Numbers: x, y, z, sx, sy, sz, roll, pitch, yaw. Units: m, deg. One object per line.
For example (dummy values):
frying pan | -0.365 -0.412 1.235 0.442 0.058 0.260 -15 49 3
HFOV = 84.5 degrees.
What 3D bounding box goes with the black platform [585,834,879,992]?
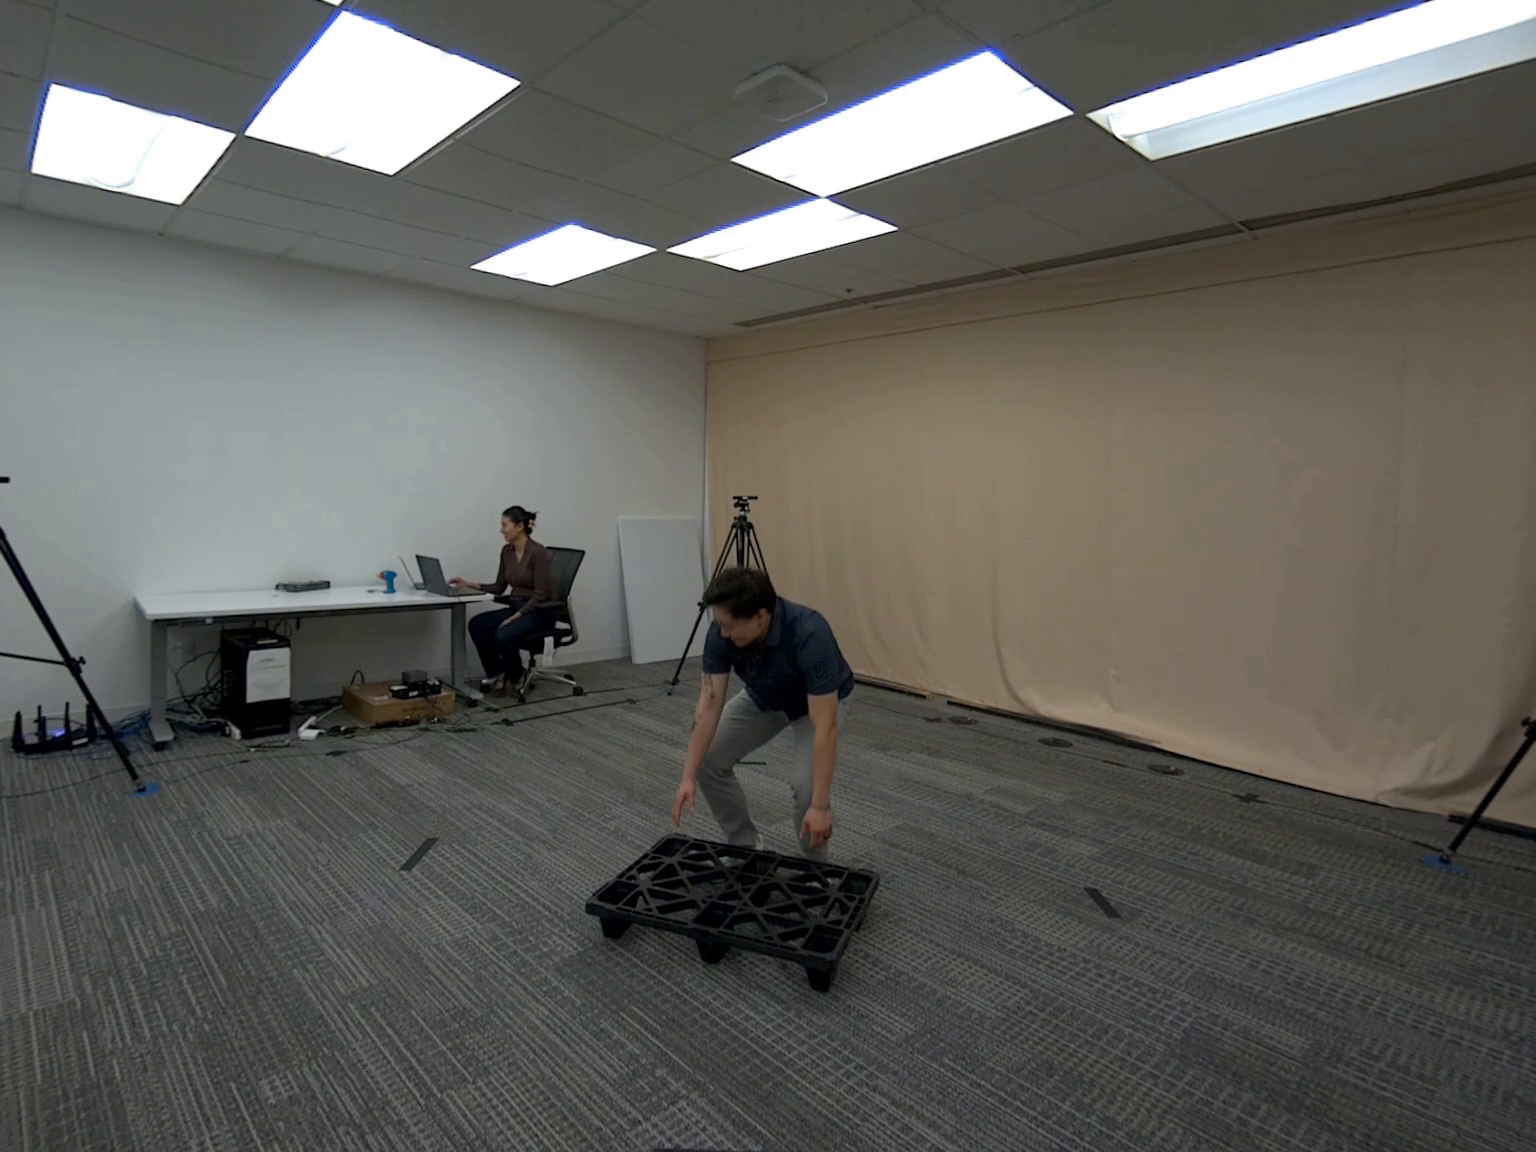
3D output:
black platform | -0.105 1.073 2.720 0.819 0.143 0.596 3 5 21
